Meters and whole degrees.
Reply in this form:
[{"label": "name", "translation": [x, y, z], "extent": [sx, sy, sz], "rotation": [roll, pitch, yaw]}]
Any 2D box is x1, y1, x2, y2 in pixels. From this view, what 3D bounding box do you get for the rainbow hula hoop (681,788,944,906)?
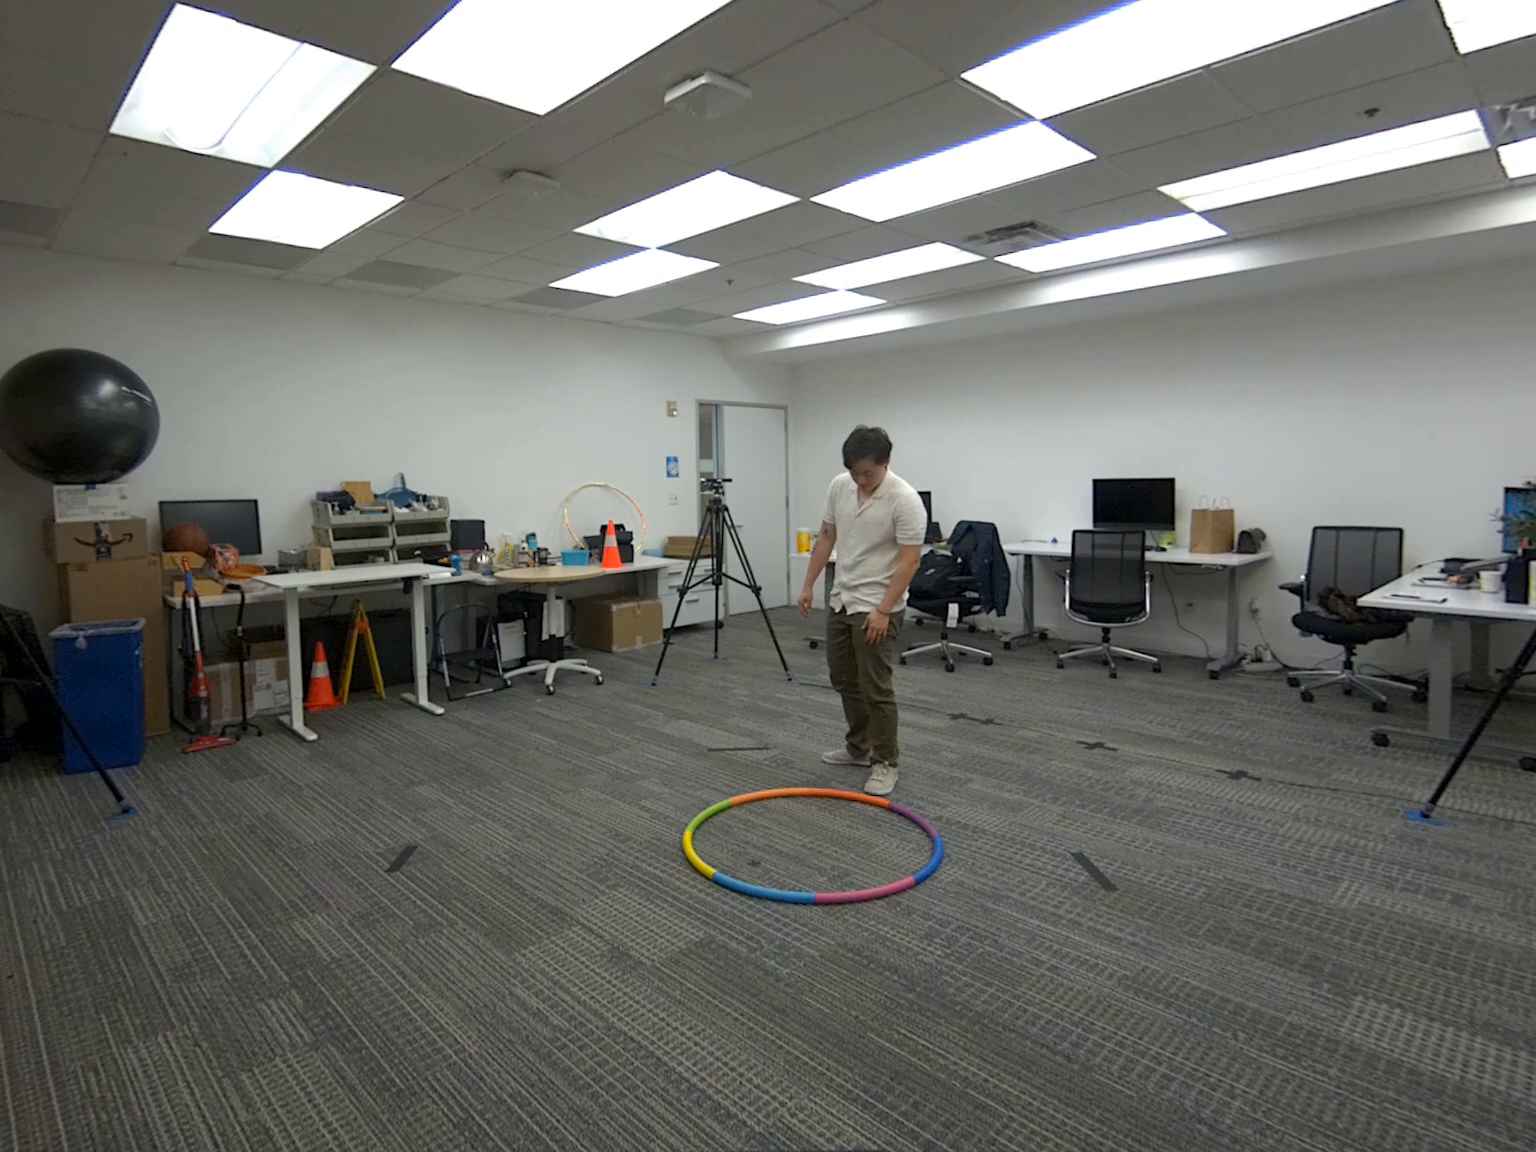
[{"label": "rainbow hula hoop", "translation": [0.164, 0.990, 3.277], "extent": [0.978, 0.035, 0.984], "rotation": [-1, 7, -2]}]
